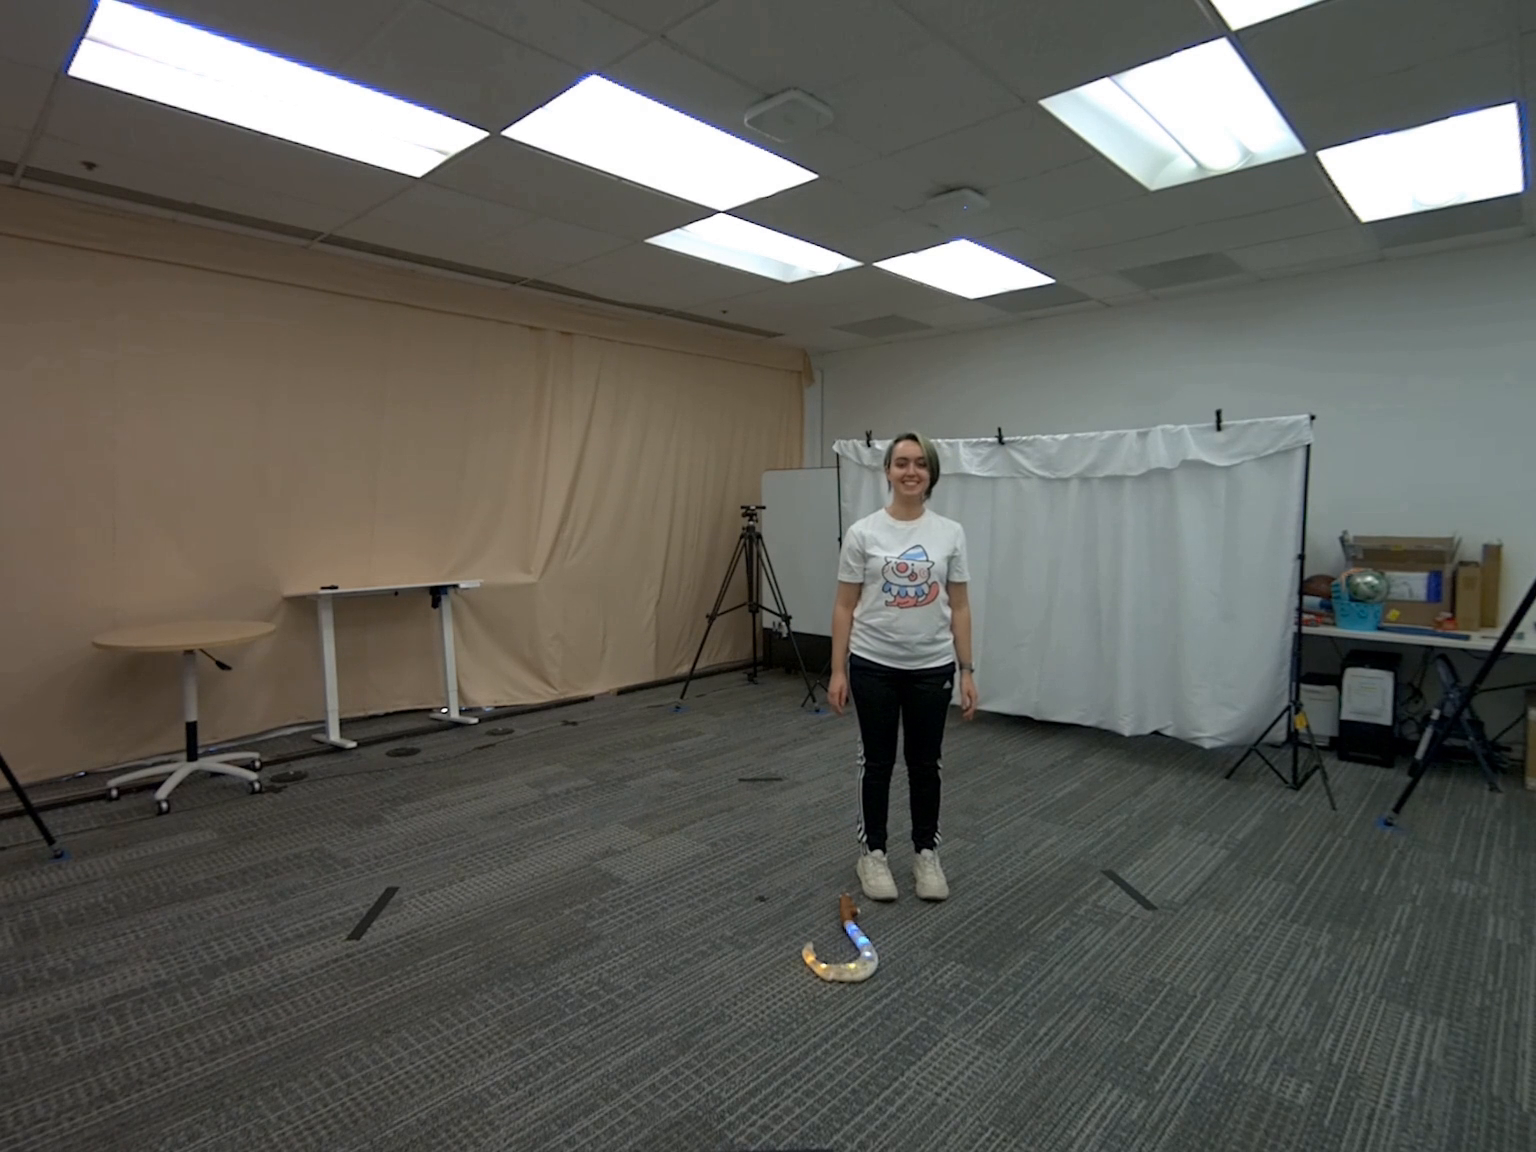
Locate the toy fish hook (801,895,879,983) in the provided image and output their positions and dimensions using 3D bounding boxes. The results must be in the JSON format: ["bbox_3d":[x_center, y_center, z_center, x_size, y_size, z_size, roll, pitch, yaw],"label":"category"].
[{"bbox_3d":[0.220,1.143,2.696,0.225,0.048,0.507,1,4,0],"label":"toy fish hook"}]
